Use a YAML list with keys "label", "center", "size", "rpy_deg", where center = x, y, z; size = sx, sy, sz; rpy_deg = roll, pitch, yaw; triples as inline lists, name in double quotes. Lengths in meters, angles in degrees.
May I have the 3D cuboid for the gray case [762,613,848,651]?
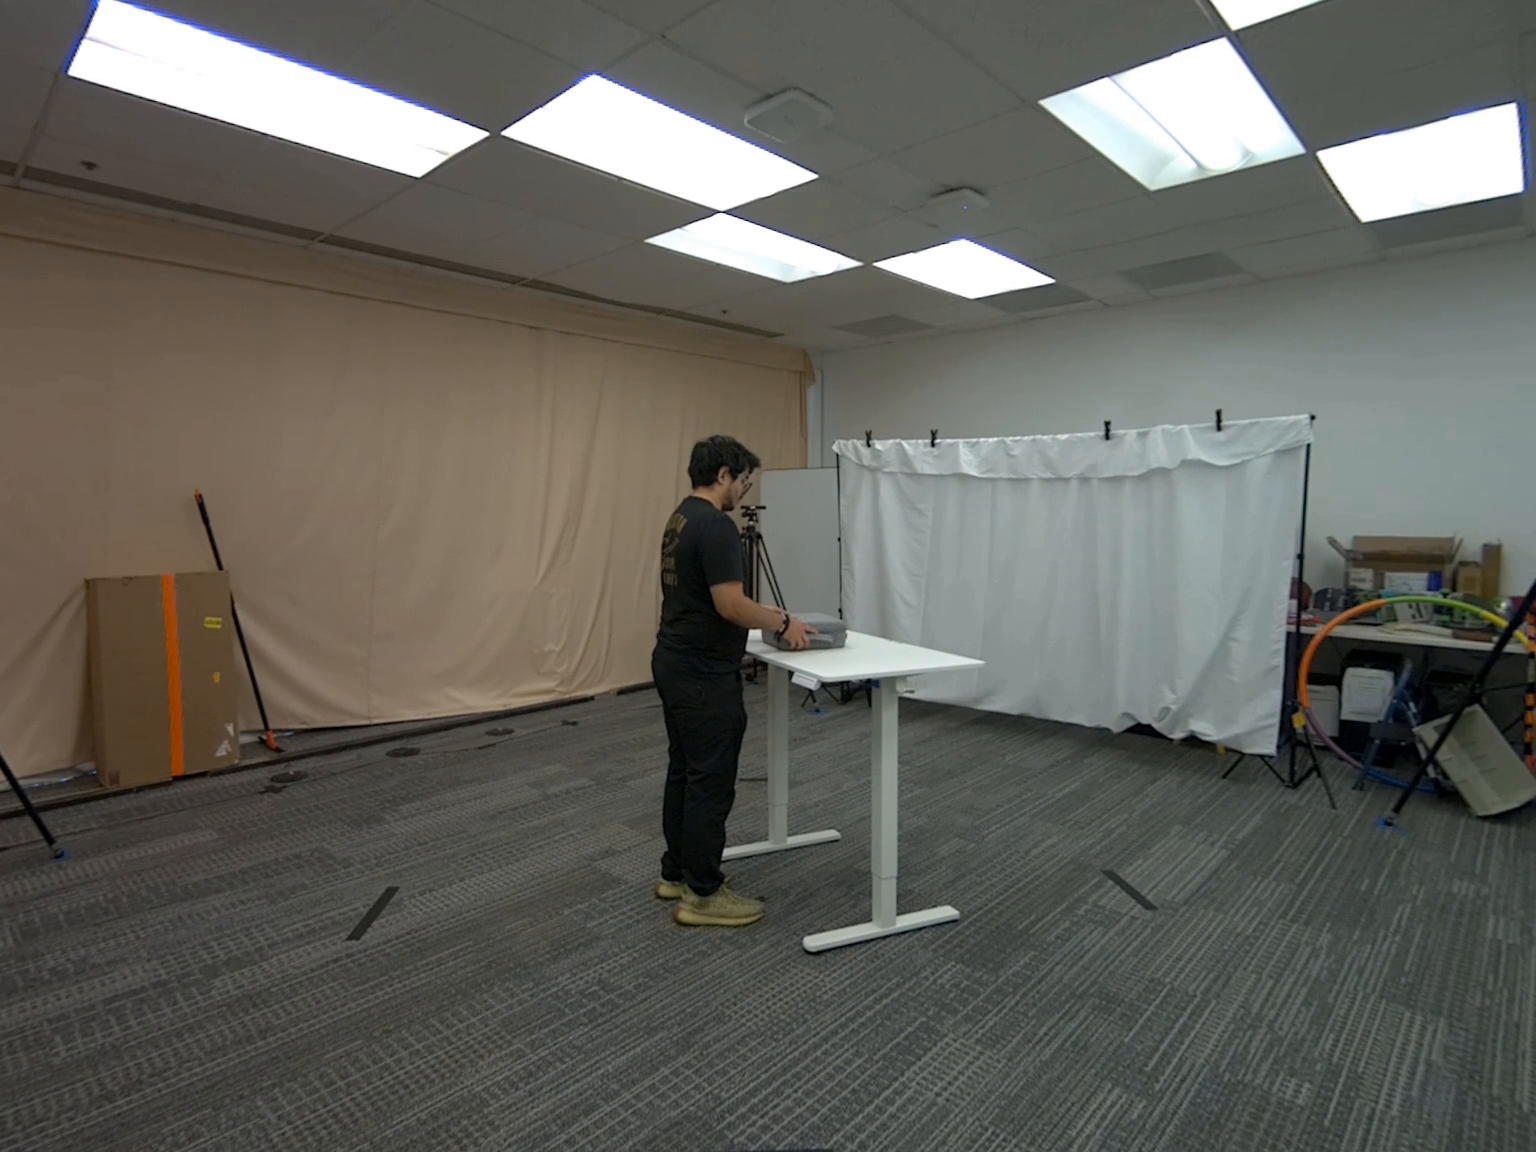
- label: "gray case"
  center: [0.133, 0.205, 3.089]
  size: [0.253, 0.104, 0.265]
  rpy_deg: [-3, 4, -17]
